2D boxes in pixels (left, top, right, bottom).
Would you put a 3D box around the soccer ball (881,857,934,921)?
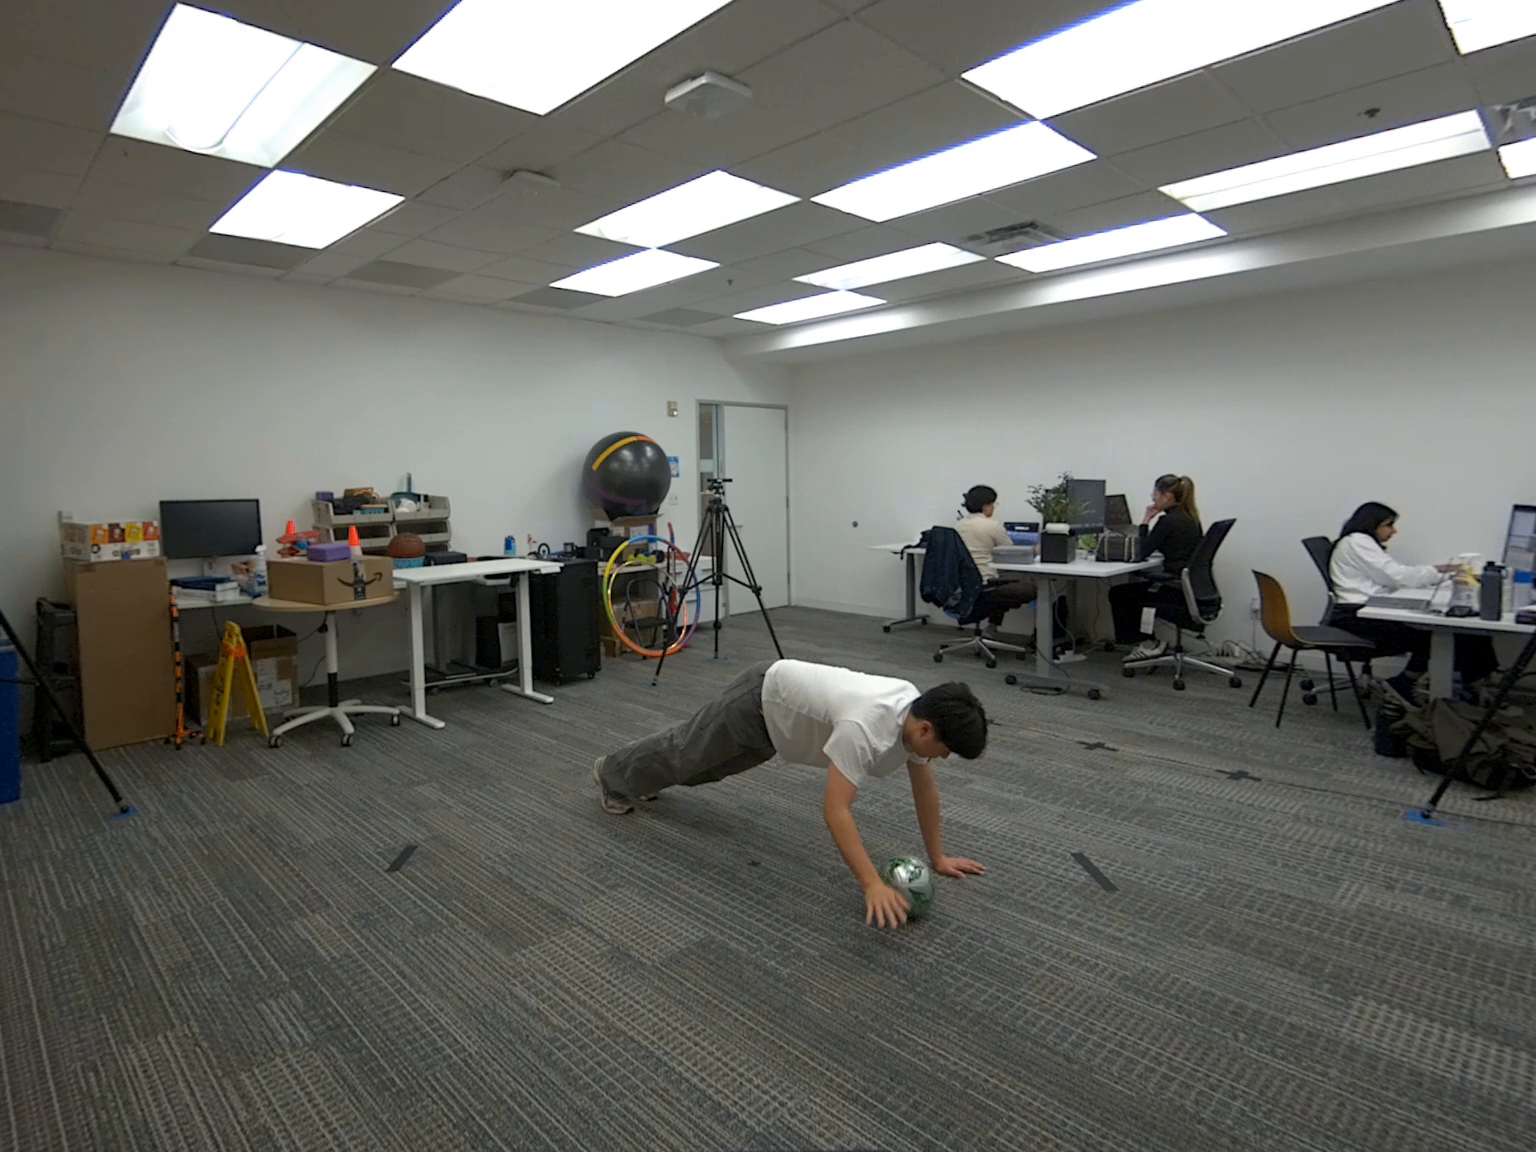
[{"bbox_3d":[0.445,0.991,2.720,0.187,0.187,0.188,-1,5,-2],"label":"soccer ball"}]
